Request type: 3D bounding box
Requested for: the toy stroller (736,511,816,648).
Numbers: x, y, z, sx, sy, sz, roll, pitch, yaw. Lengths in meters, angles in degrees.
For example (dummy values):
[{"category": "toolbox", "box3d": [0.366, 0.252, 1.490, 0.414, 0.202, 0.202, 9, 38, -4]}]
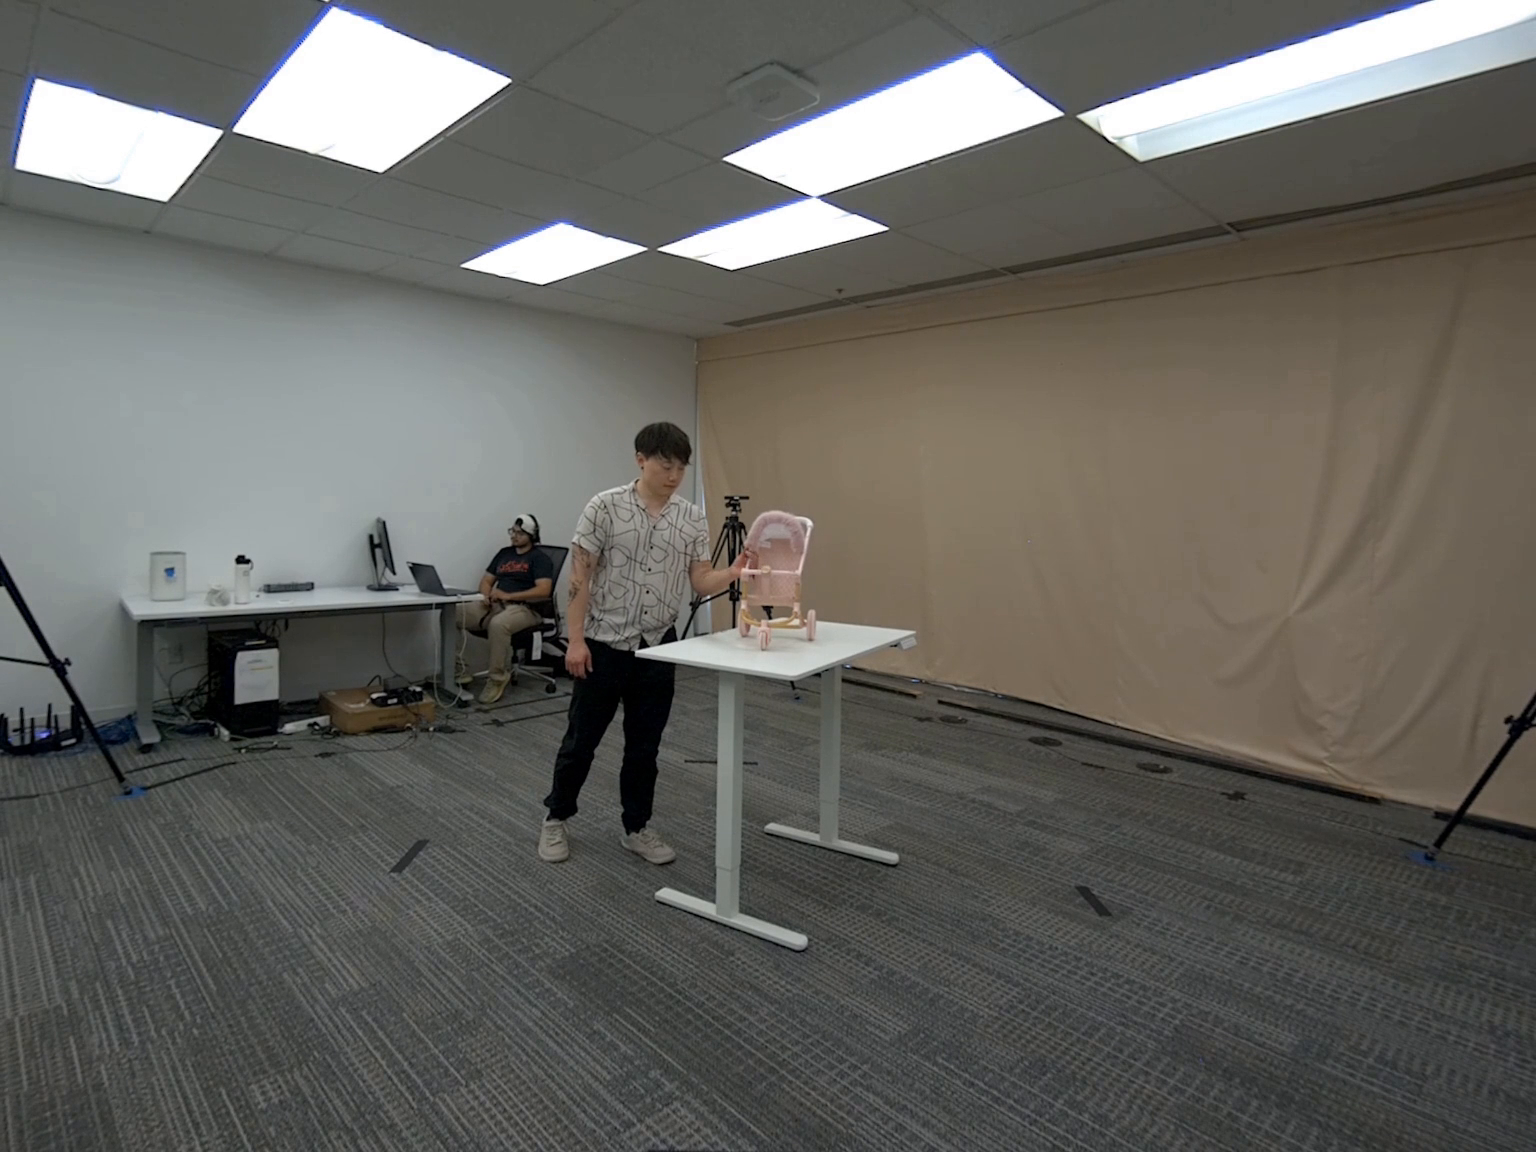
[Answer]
[{"category": "toy stroller", "box3d": [0.014, 0.010, 3.004, 0.285, 0.539, 0.334, 1, -11, 17]}]
